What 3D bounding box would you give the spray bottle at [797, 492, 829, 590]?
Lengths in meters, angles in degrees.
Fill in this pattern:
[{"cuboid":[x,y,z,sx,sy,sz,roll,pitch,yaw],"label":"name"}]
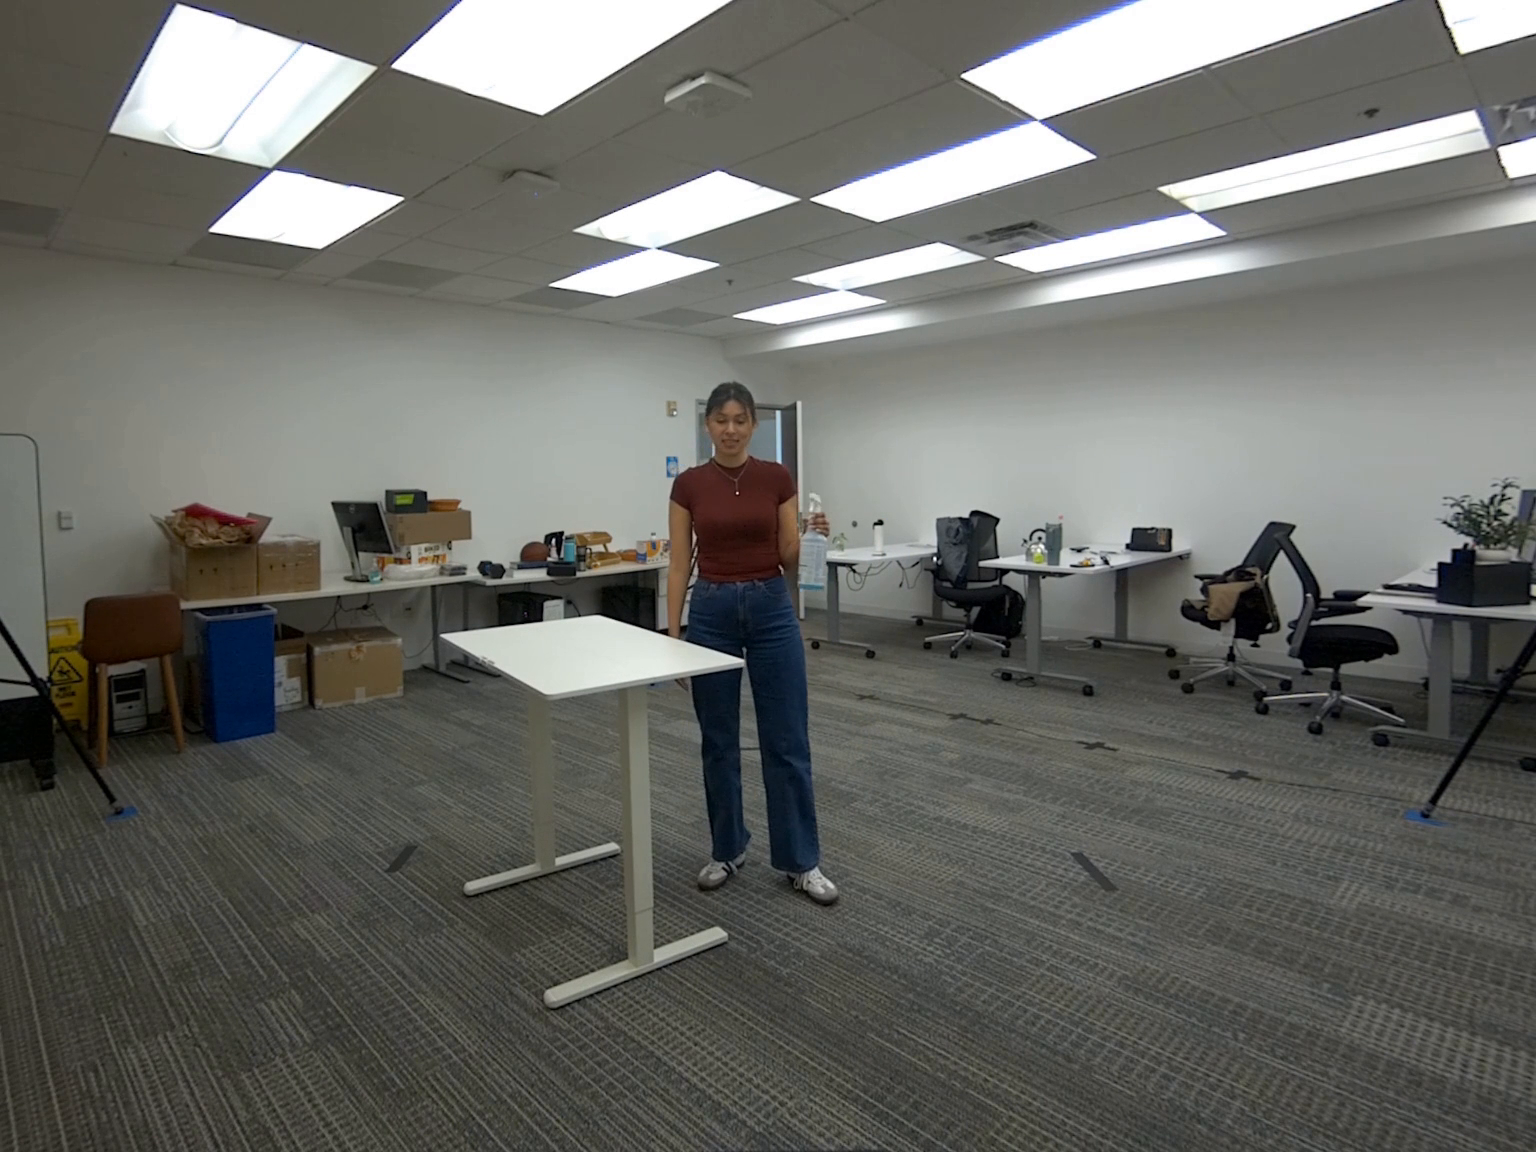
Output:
[{"cuboid":[0.146,-0.105,2.684,0.087,0.298,0.089,5,-3,-43],"label":"spray bottle"}]
